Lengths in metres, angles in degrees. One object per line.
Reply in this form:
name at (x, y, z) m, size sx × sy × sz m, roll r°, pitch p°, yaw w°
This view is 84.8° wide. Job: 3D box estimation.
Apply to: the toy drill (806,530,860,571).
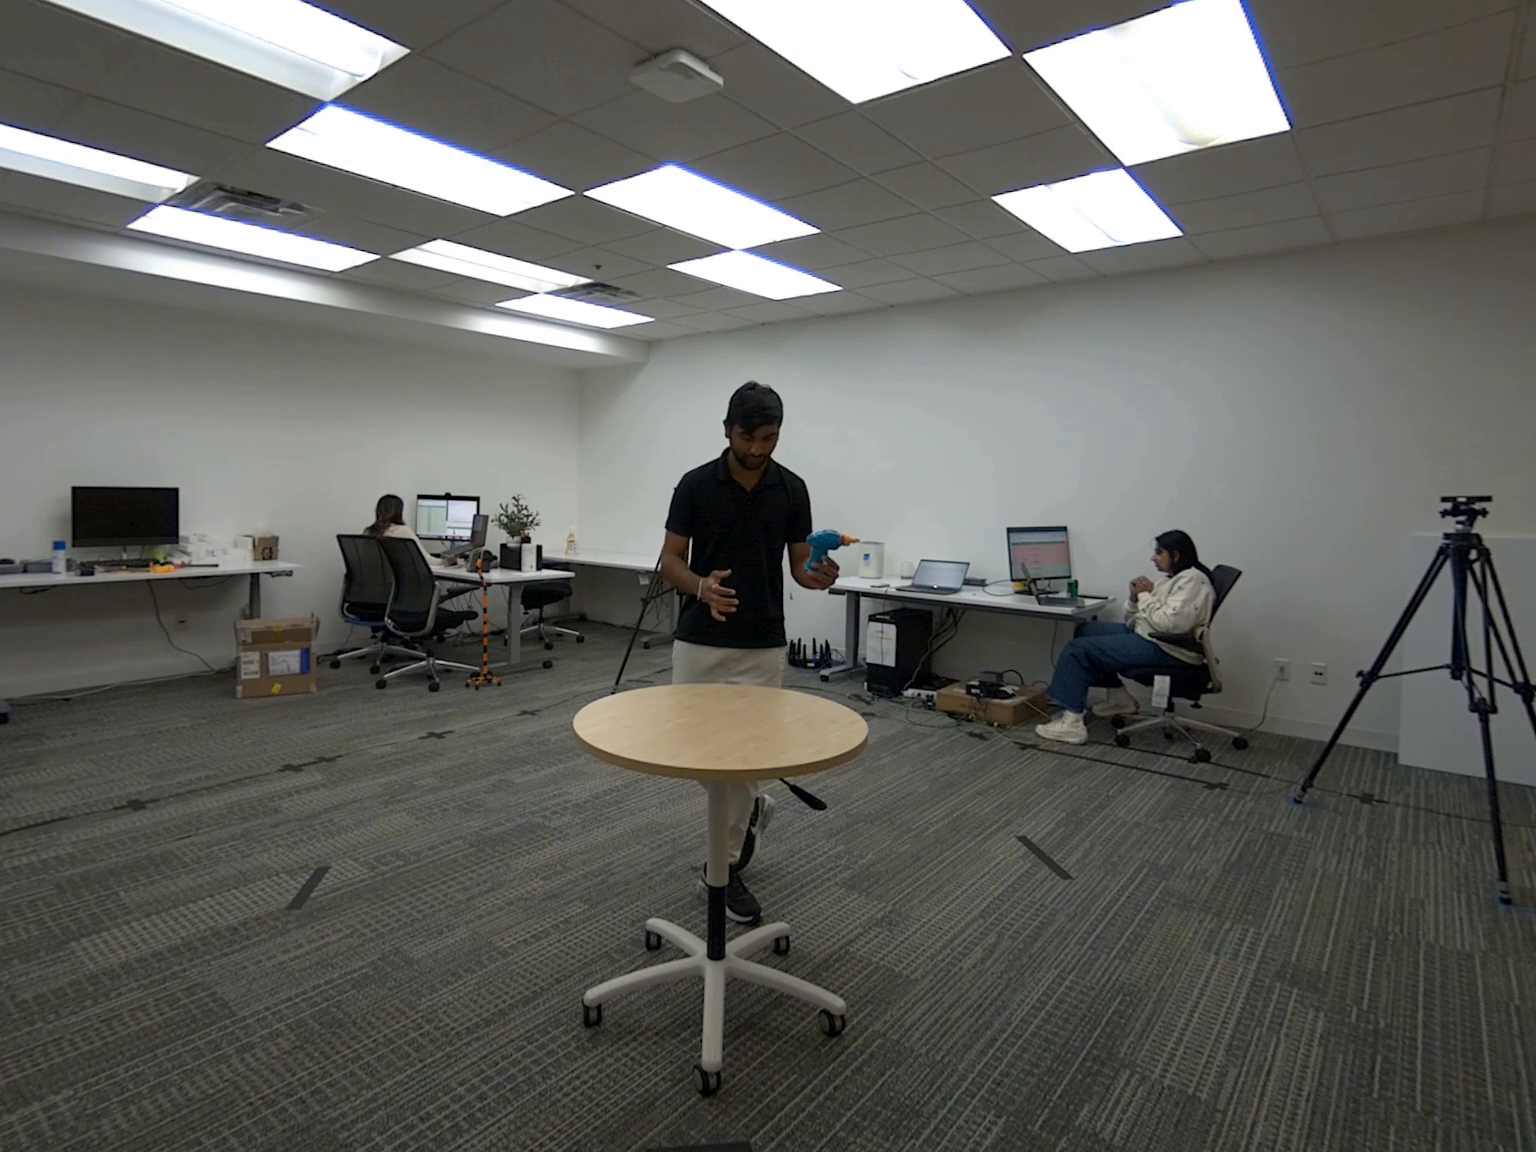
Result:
toy drill at (0.178, -0.077, 2.531) m, size 0.167 × 0.143 × 0.063 m, roll 2°, pitch 27°, yaw -14°
